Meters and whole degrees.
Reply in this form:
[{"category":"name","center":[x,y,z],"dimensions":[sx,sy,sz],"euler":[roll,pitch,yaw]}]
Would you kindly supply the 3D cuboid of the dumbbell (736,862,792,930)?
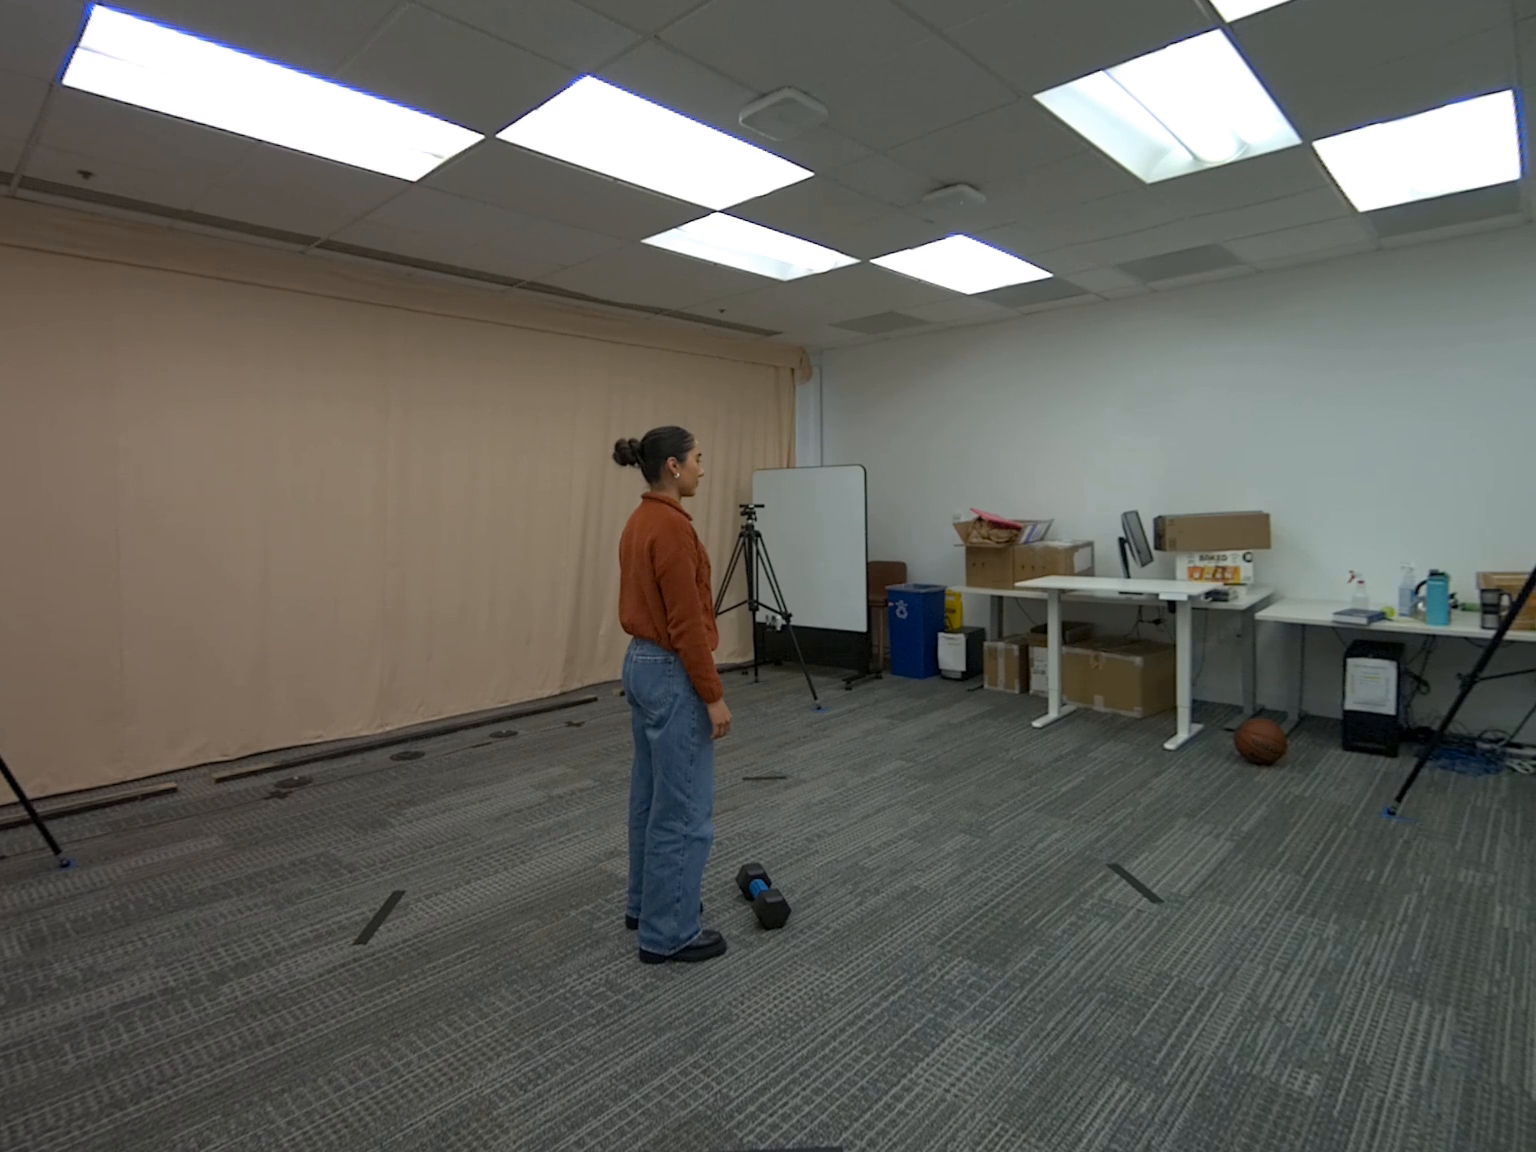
[{"category":"dumbbell","center":[-0.016,1.092,2.887],"dimensions":[0.108,0.121,0.299],"euler":[-33,12,-11]}]
